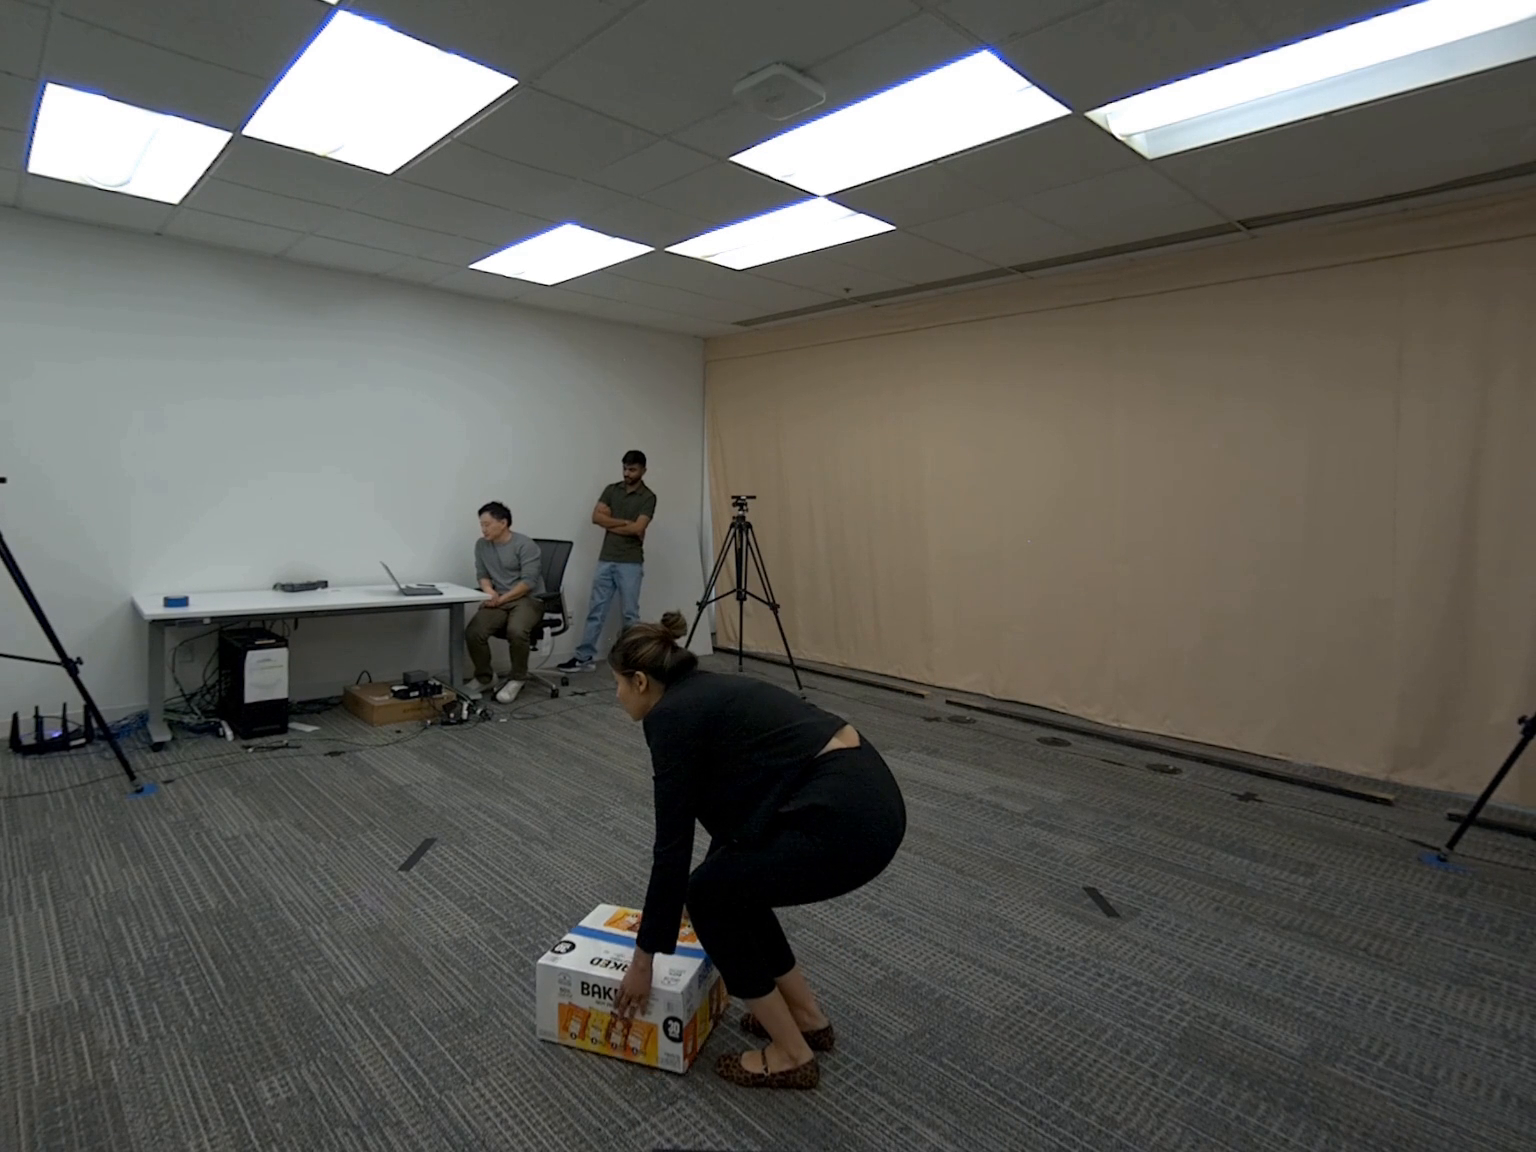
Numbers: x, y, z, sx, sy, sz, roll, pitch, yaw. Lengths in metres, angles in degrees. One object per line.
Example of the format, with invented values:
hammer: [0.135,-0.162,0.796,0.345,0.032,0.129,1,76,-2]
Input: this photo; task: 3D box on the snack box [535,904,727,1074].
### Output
snack box: [-0.351,1.058,2.219,0.411,0.205,0.336,1,4,20]
